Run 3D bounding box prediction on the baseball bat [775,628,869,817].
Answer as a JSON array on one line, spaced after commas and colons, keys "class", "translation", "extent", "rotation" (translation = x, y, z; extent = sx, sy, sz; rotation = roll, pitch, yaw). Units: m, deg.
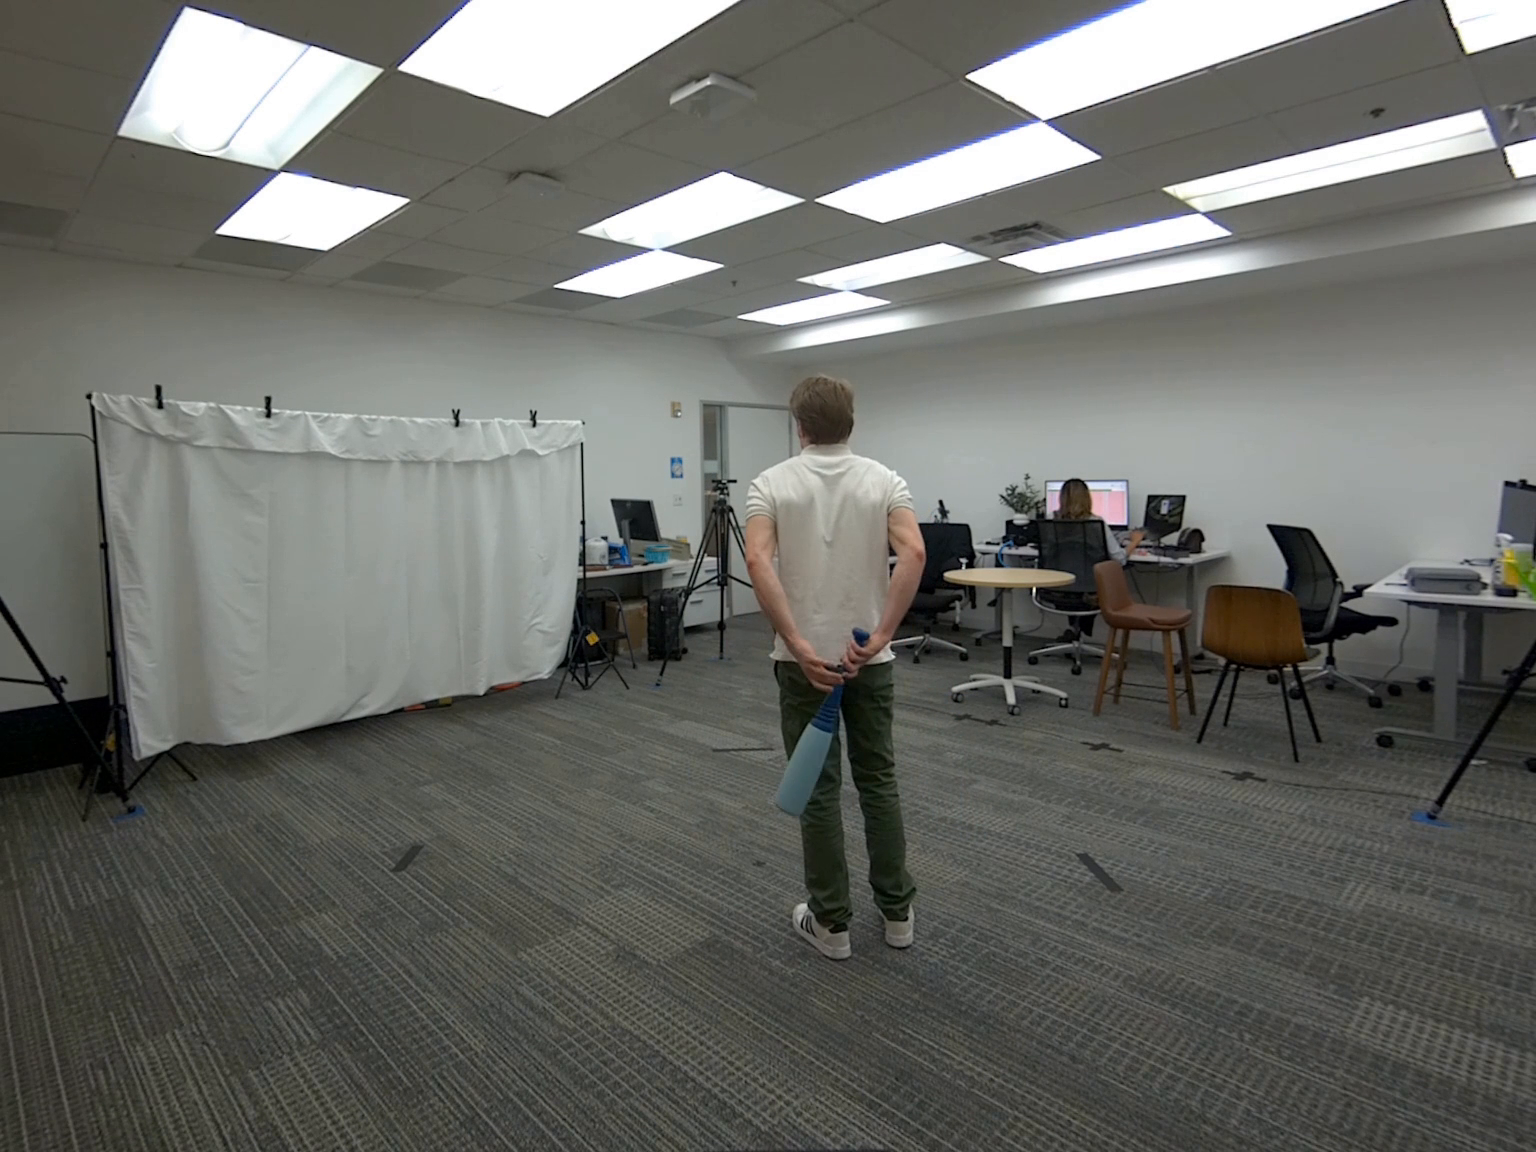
[{"class": "baseball bat", "translation": [0.160, 0.405, 2.337], "extent": [0.089, 0.542, 0.089], "rotation": [21, 4, -4]}]
